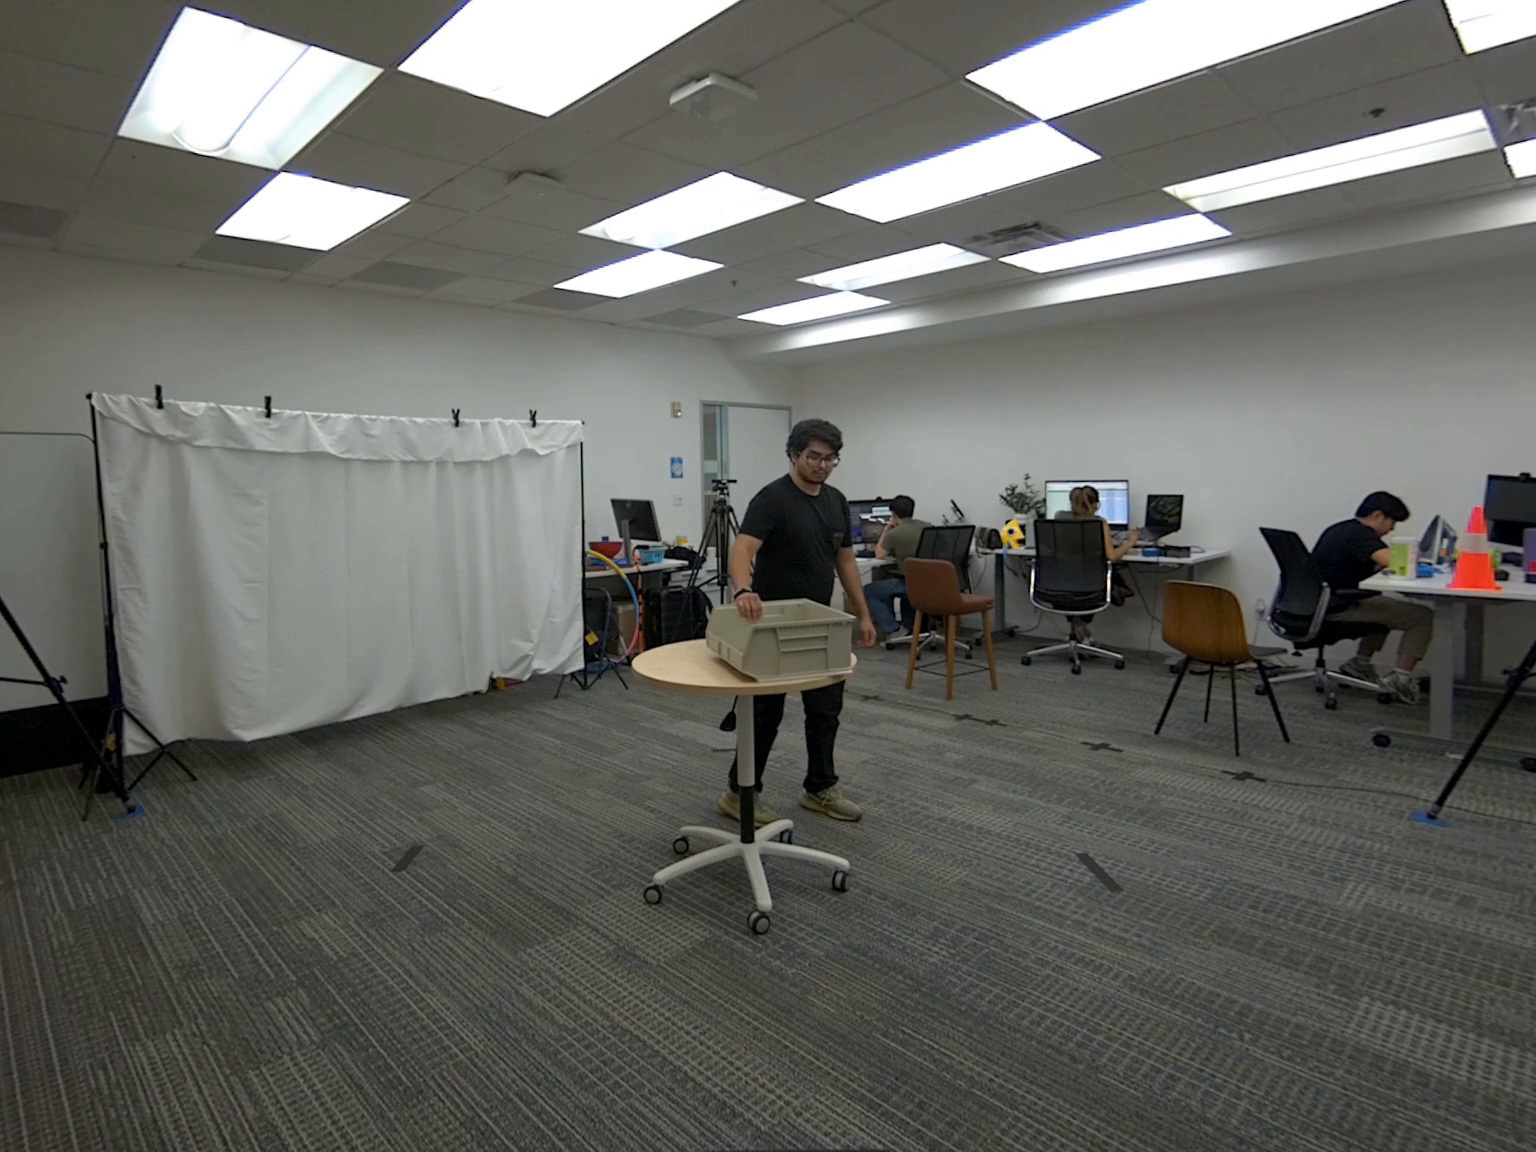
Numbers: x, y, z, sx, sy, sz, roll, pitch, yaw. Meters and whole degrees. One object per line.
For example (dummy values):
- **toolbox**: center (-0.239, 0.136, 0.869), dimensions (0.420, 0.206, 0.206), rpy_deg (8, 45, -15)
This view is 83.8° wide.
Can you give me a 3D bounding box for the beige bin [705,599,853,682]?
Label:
- **beige bin**: center (0.027, 0.203, 2.815), dimensions (0.372, 0.188, 0.430), rpy_deg (-3, 5, -17)
